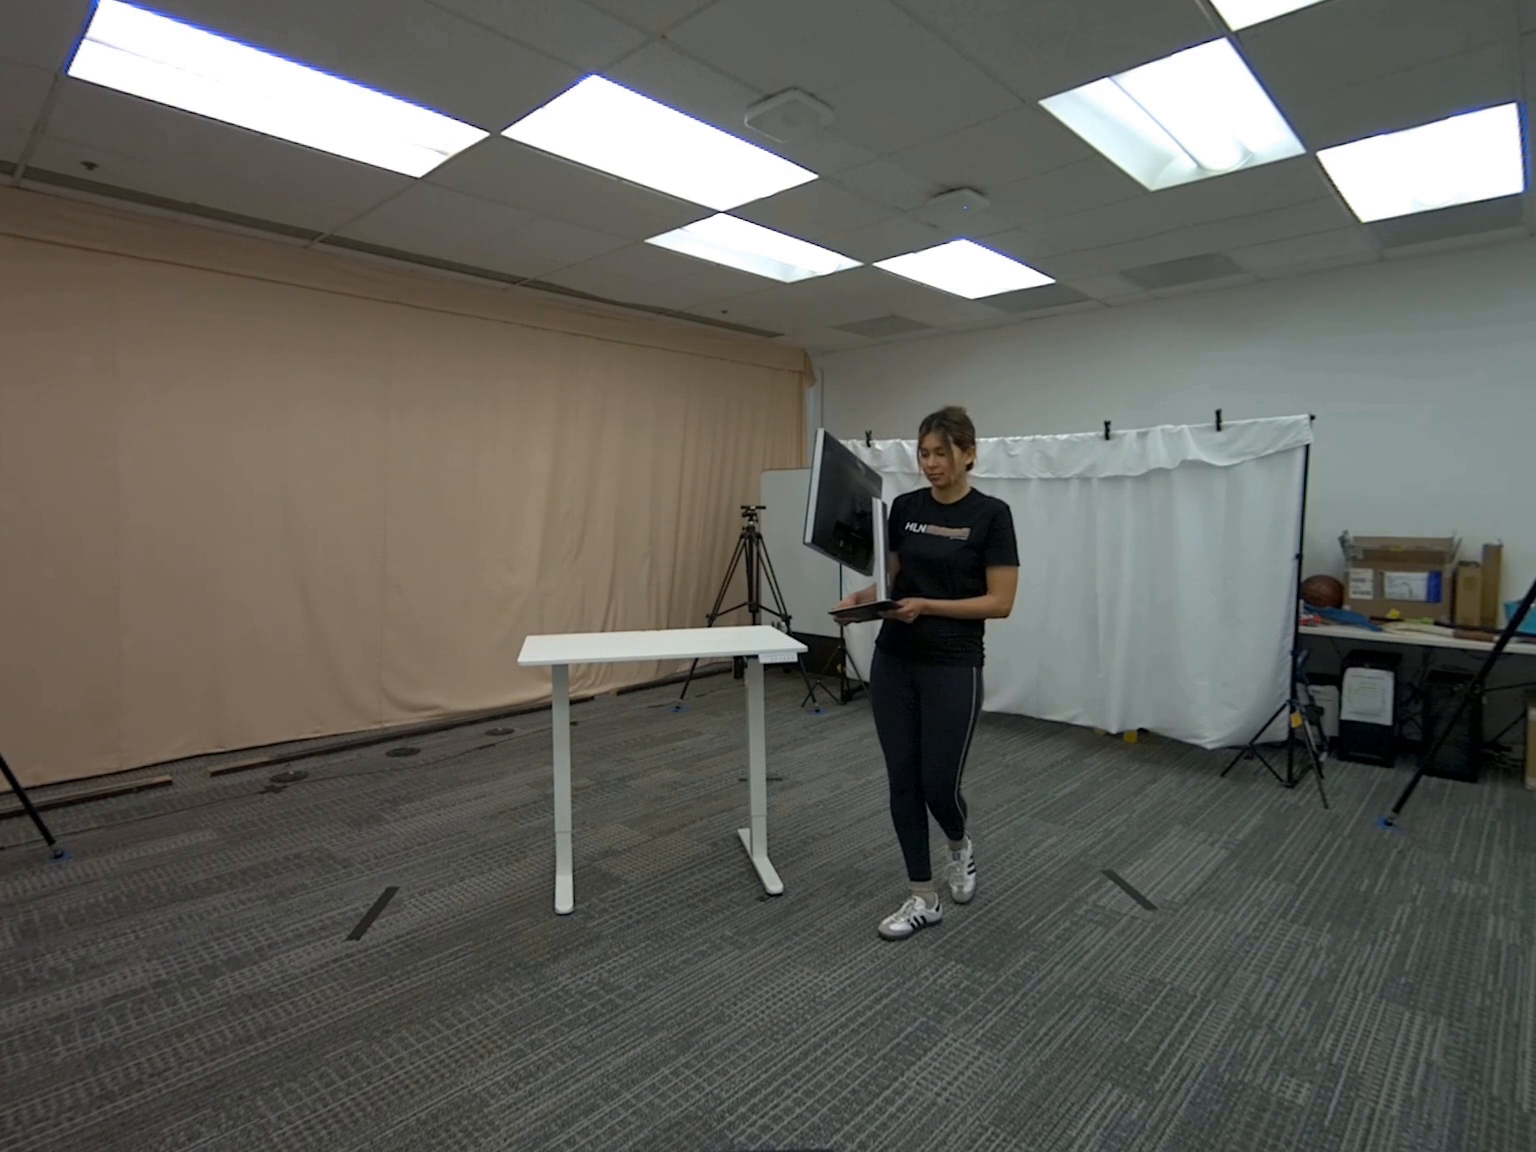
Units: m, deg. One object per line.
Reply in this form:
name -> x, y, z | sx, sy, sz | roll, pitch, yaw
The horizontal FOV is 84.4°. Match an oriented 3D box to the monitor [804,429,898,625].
monitor -> 0.297, -0.140, 2.729 | 0.191, 0.528, 0.522 | -10, -16, 25
